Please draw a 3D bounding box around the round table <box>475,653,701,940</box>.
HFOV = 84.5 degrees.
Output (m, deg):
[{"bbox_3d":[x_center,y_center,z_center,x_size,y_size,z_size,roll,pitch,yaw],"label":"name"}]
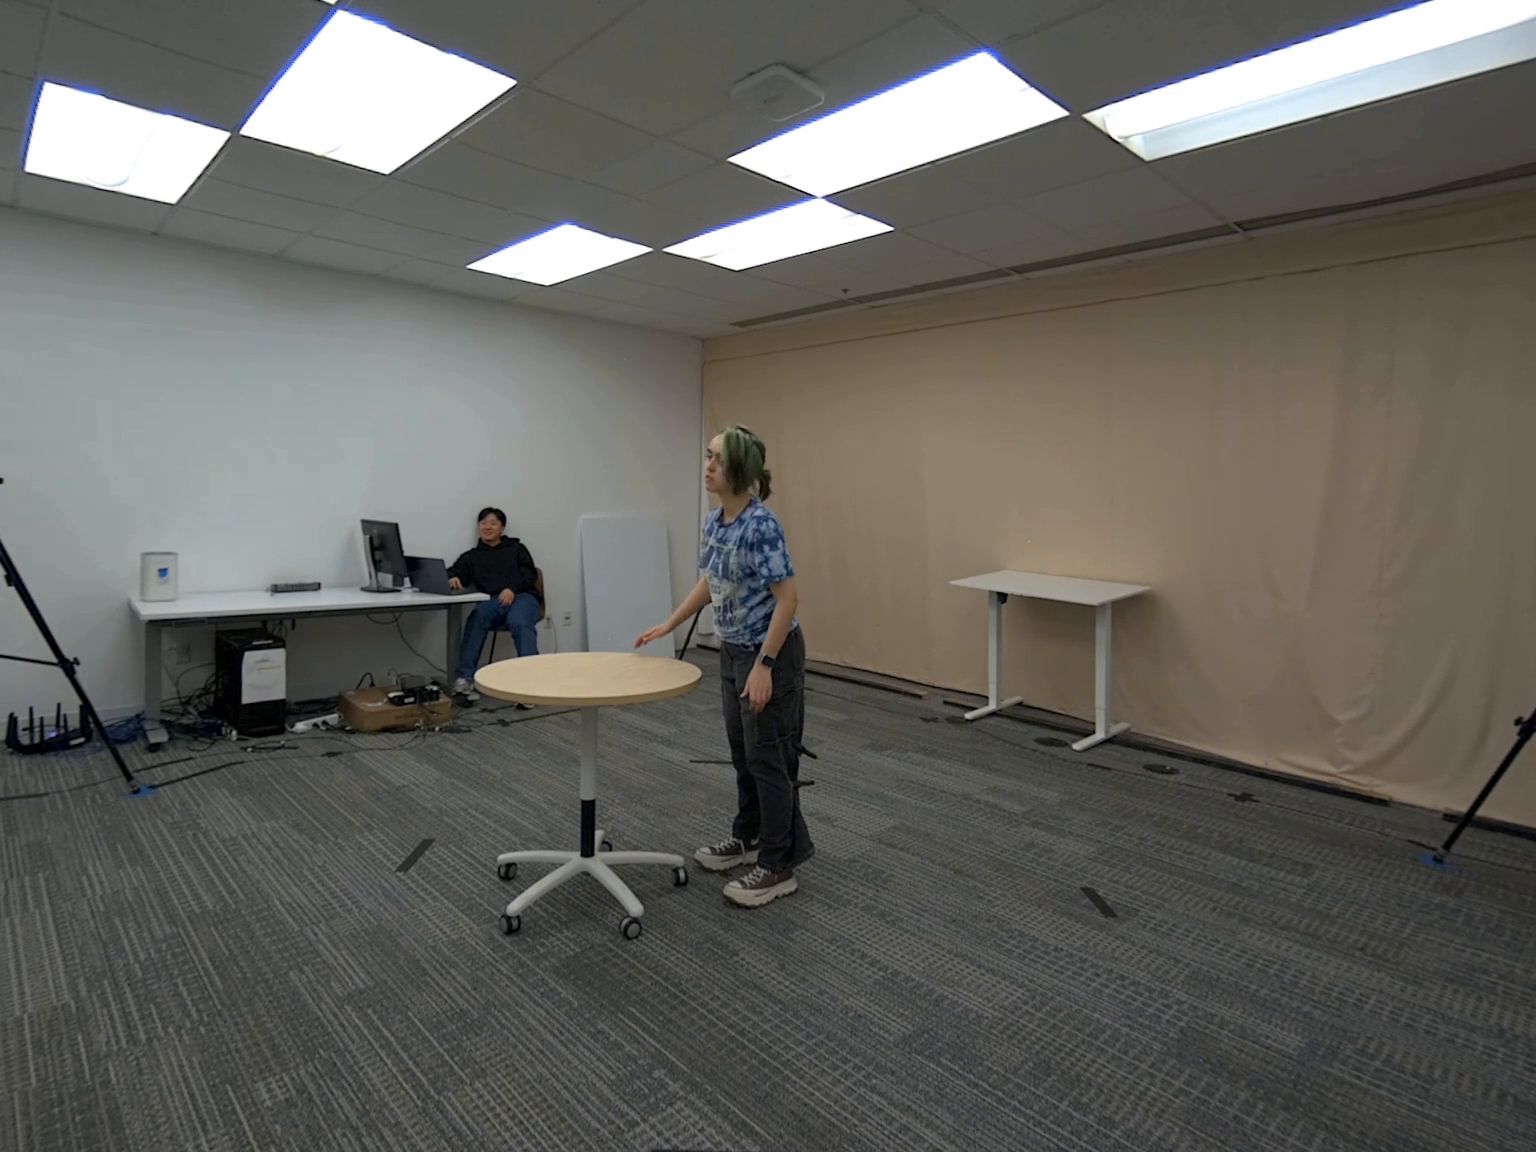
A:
[{"bbox_3d":[-0.630,0.725,2.906,0.763,0.792,0.766,1,4,-1],"label":"round table"}]
